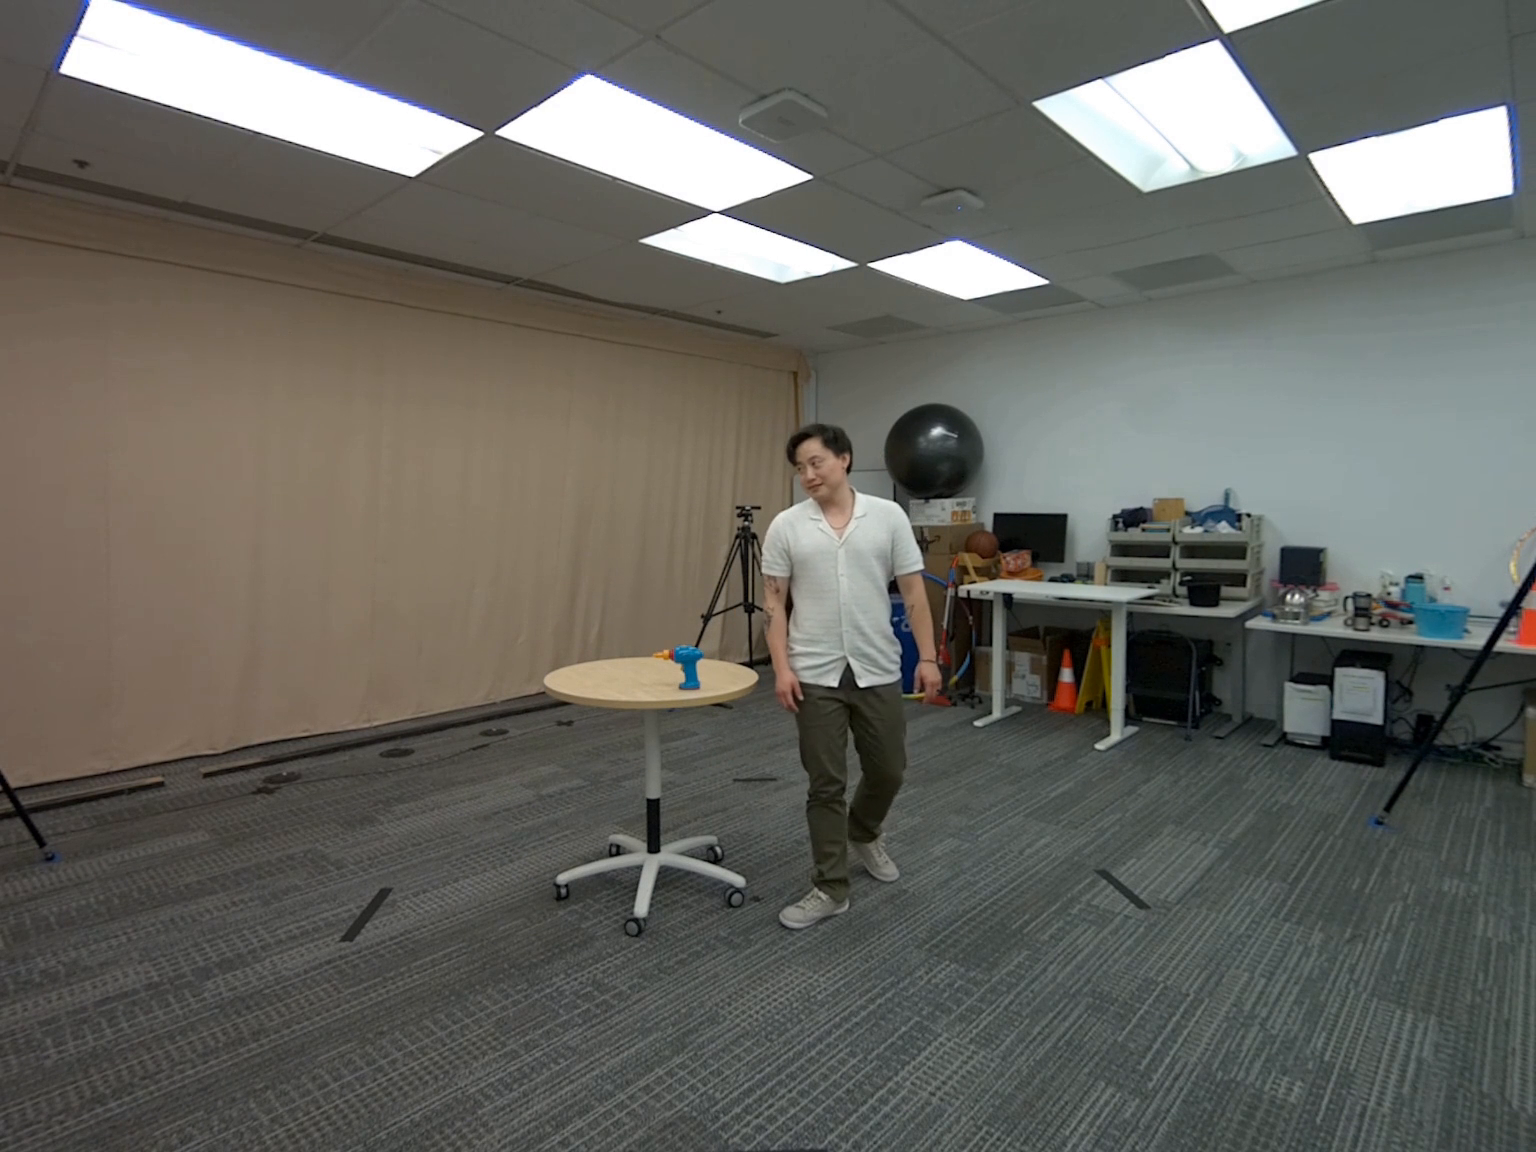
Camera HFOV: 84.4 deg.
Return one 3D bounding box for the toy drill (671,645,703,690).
[{"bbox_3d":[-0.299,0.302,2.827,0.170,0.145,0.061,0,5,0],"label":"toy drill"}]
